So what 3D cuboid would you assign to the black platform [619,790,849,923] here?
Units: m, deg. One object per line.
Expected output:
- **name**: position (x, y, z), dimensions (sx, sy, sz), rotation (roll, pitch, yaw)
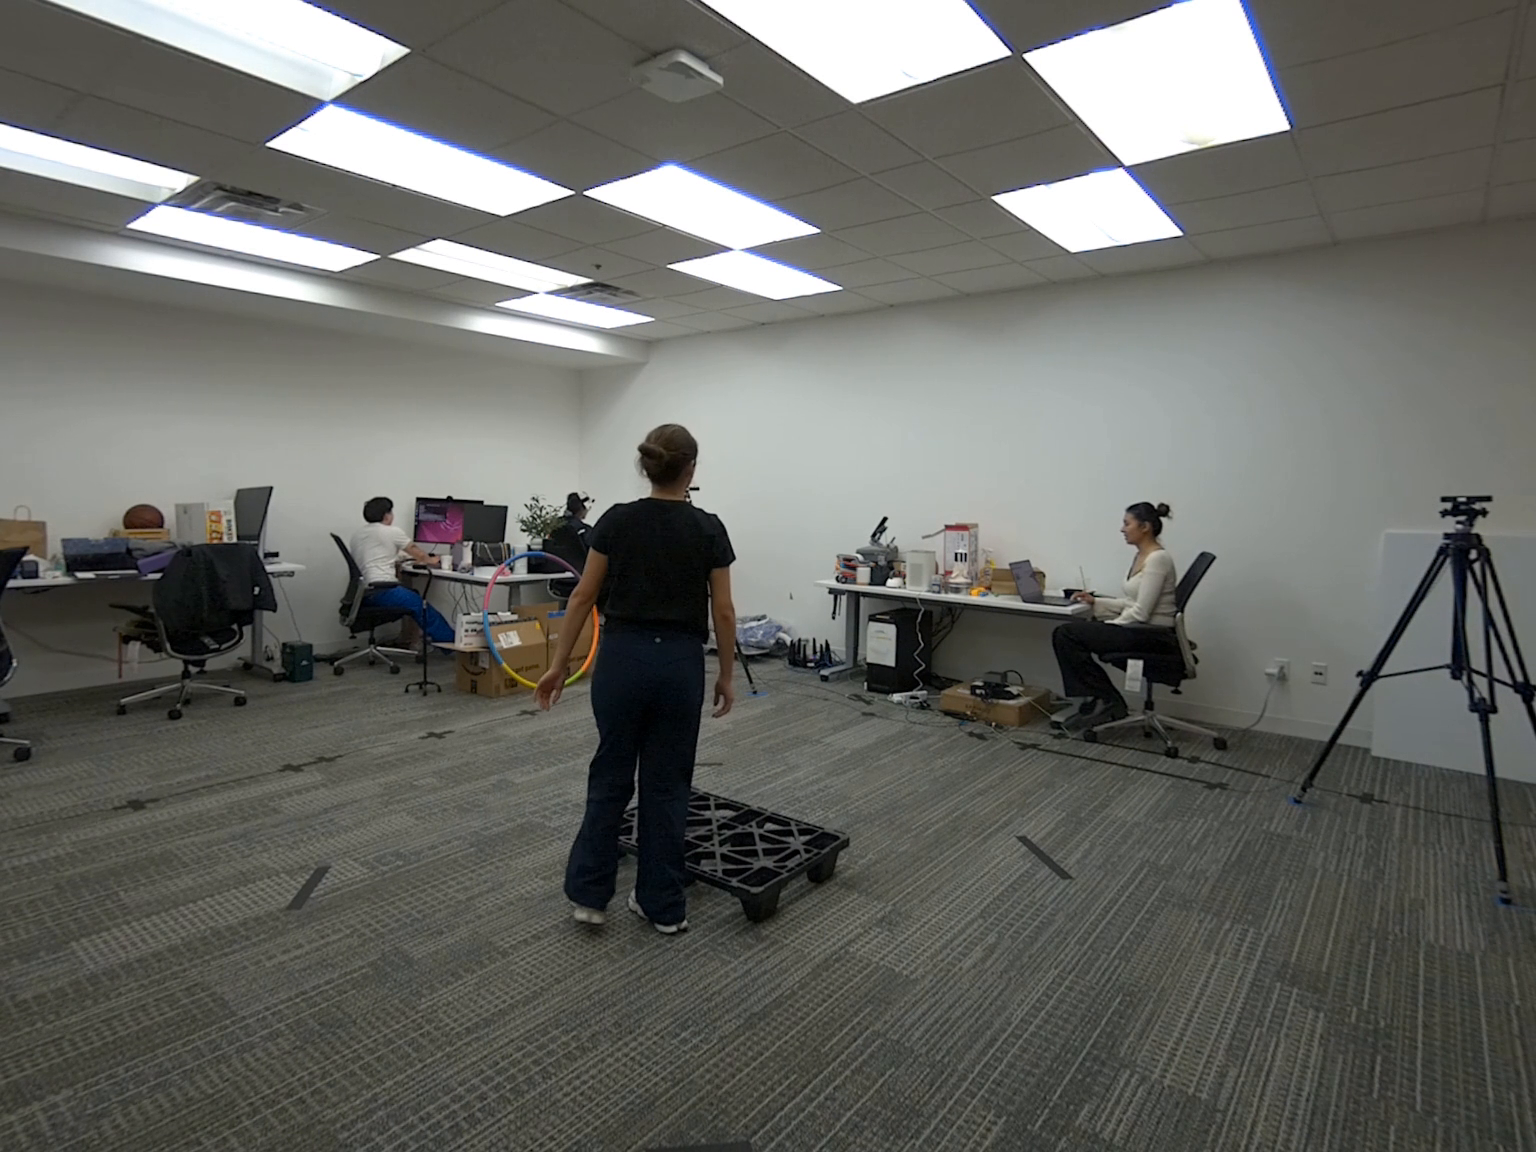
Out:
- **black platform**: position (-0.174, 0.999, 3.129), dimensions (0.832, 0.143, 0.588), rotation (5, 7, 37)
